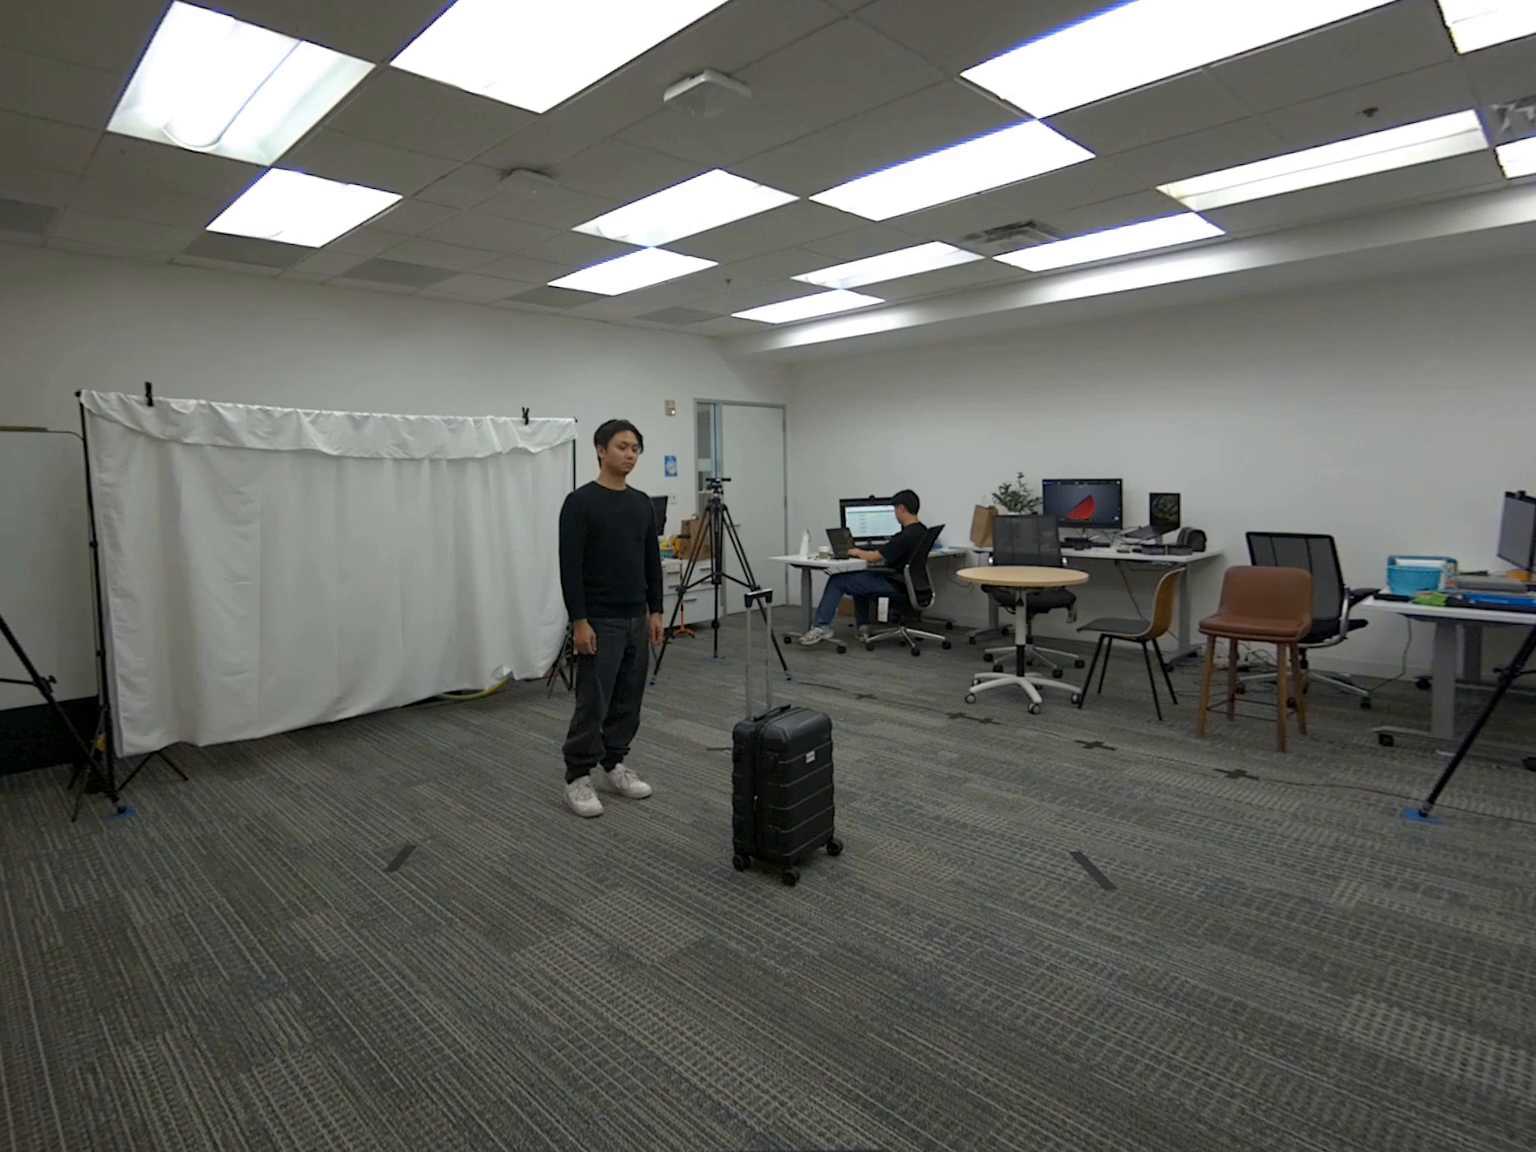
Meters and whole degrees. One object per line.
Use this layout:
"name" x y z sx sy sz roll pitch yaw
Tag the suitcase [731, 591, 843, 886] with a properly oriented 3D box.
"suitcase" 0.066 0.562 3.093 0.264 0.974 0.374 3 6 35
